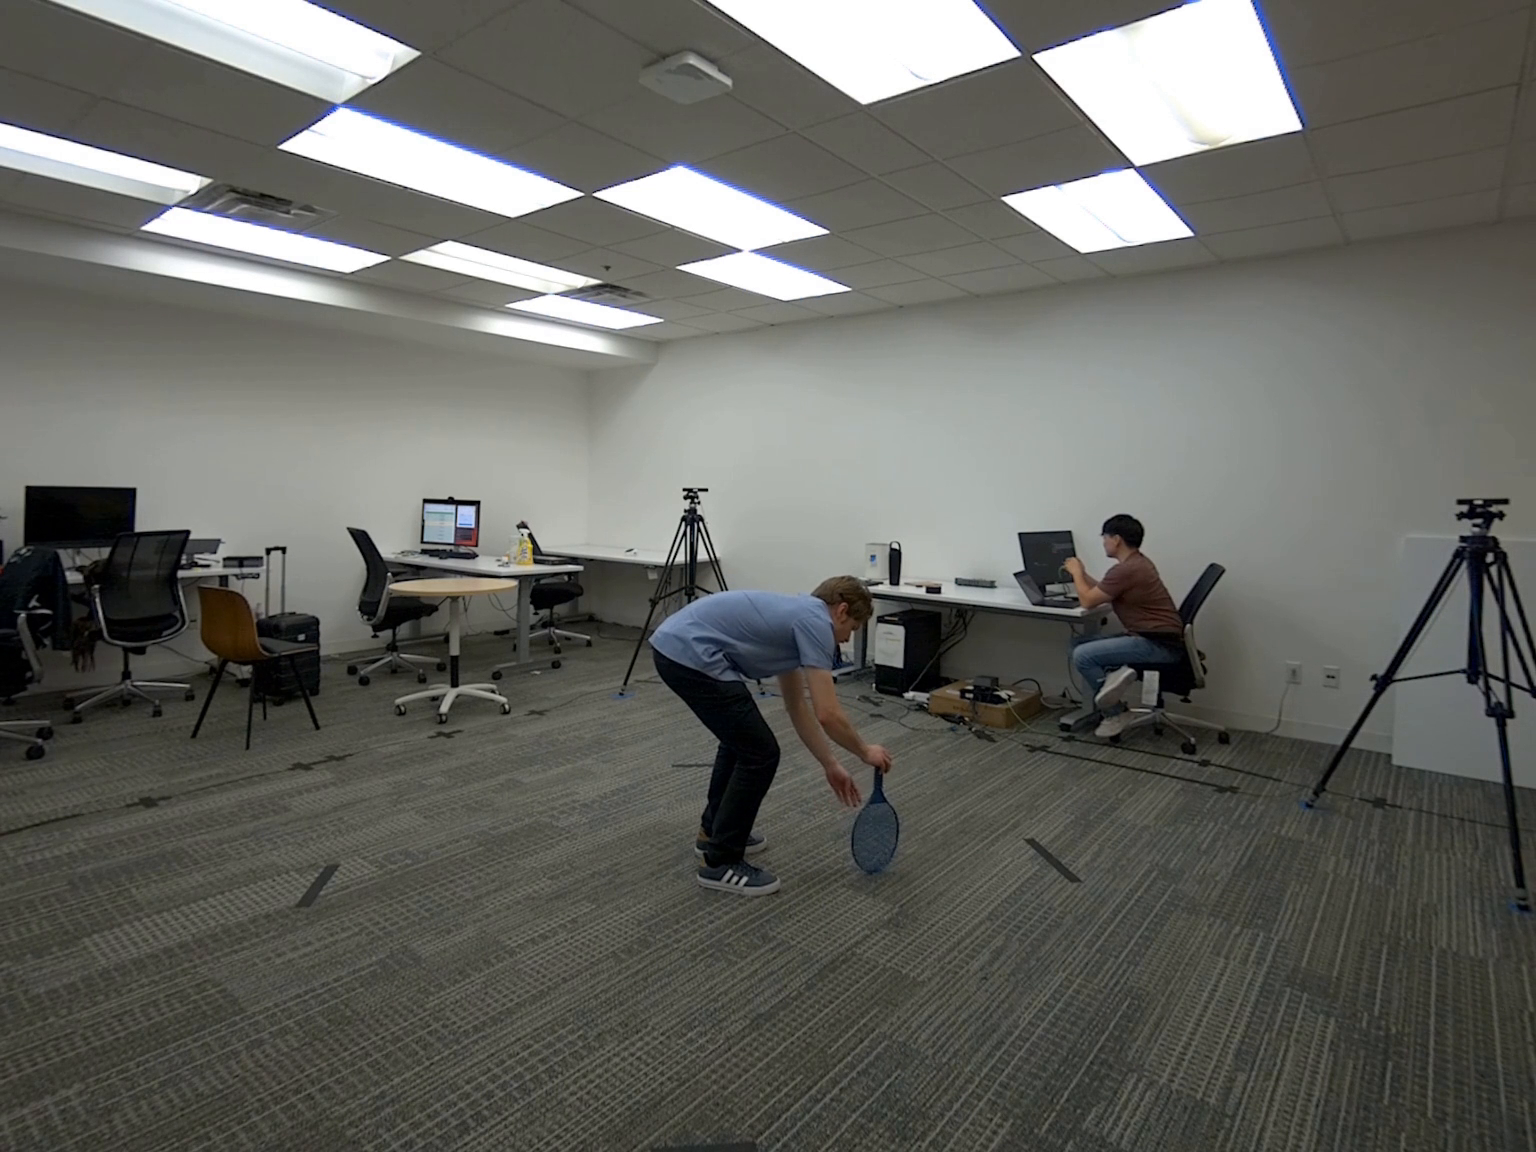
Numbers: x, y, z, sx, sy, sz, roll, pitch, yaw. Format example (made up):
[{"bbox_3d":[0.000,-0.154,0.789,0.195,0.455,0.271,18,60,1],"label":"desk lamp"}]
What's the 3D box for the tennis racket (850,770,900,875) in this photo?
[{"bbox_3d":[0.384,0.865,3.110,0.209,0.431,0.032,-2,4,-24],"label":"tennis racket"}]
